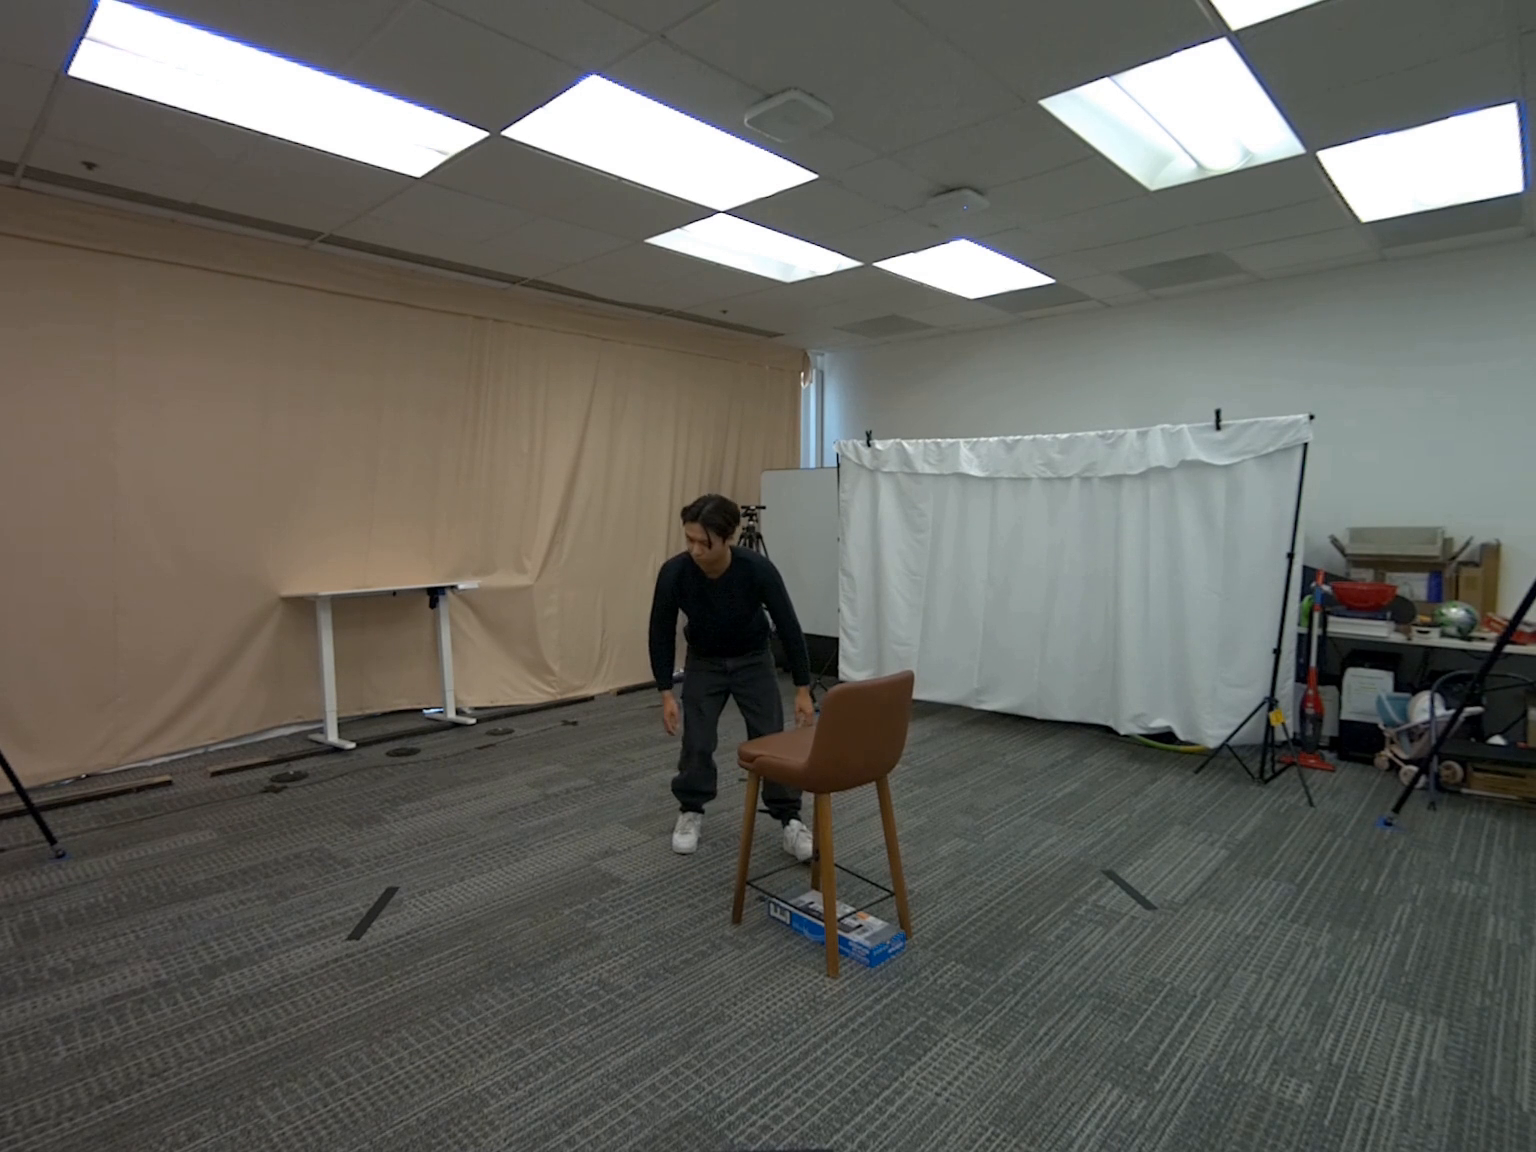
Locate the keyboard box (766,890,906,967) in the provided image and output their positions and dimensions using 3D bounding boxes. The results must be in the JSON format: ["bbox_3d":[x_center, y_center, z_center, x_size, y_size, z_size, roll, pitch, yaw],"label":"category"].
[{"bbox_3d":[0.226,1.141,2.746,0.171,0.059,0.451,-6,7,-43],"label":"keyboard box"}]
